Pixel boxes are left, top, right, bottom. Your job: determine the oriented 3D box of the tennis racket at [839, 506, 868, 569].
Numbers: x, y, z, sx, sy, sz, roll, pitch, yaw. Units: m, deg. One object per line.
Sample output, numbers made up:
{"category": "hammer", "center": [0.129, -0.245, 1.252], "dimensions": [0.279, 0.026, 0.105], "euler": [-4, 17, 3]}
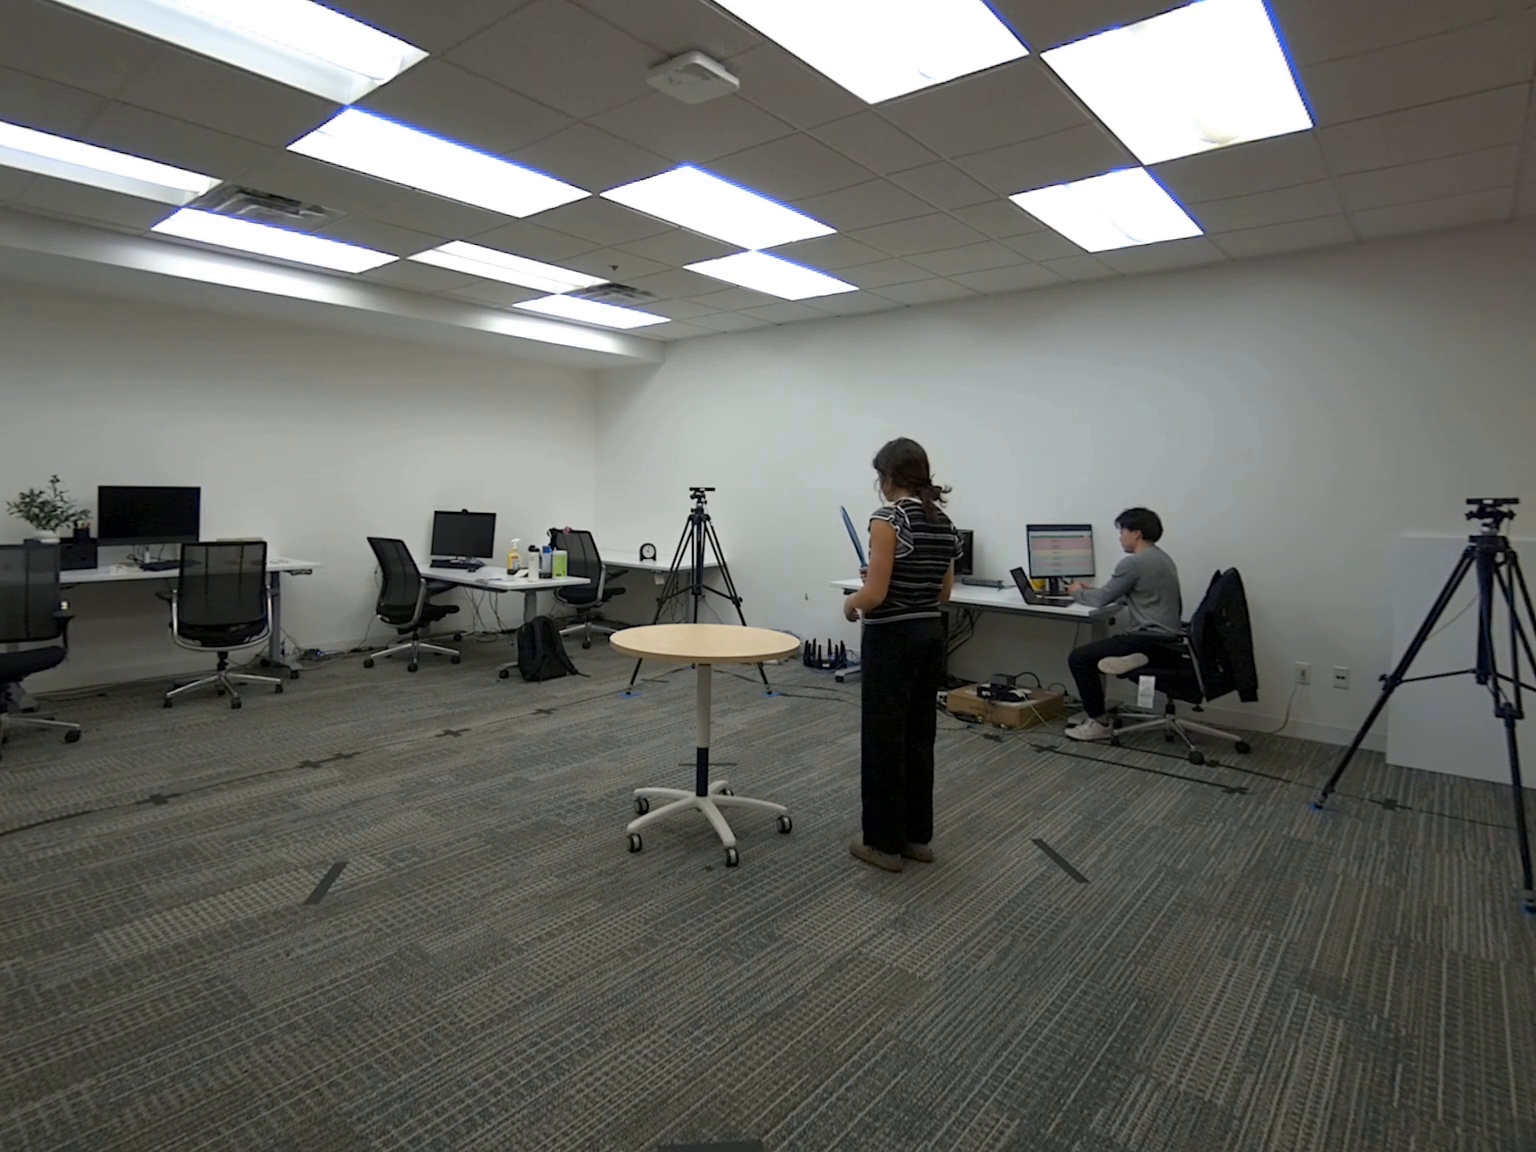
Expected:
{"category": "tennis racket", "center": [0.365, -0.121, 3.527], "dimensions": [0.032, 0.448, 0.205], "euler": [-21, -42, 8]}
